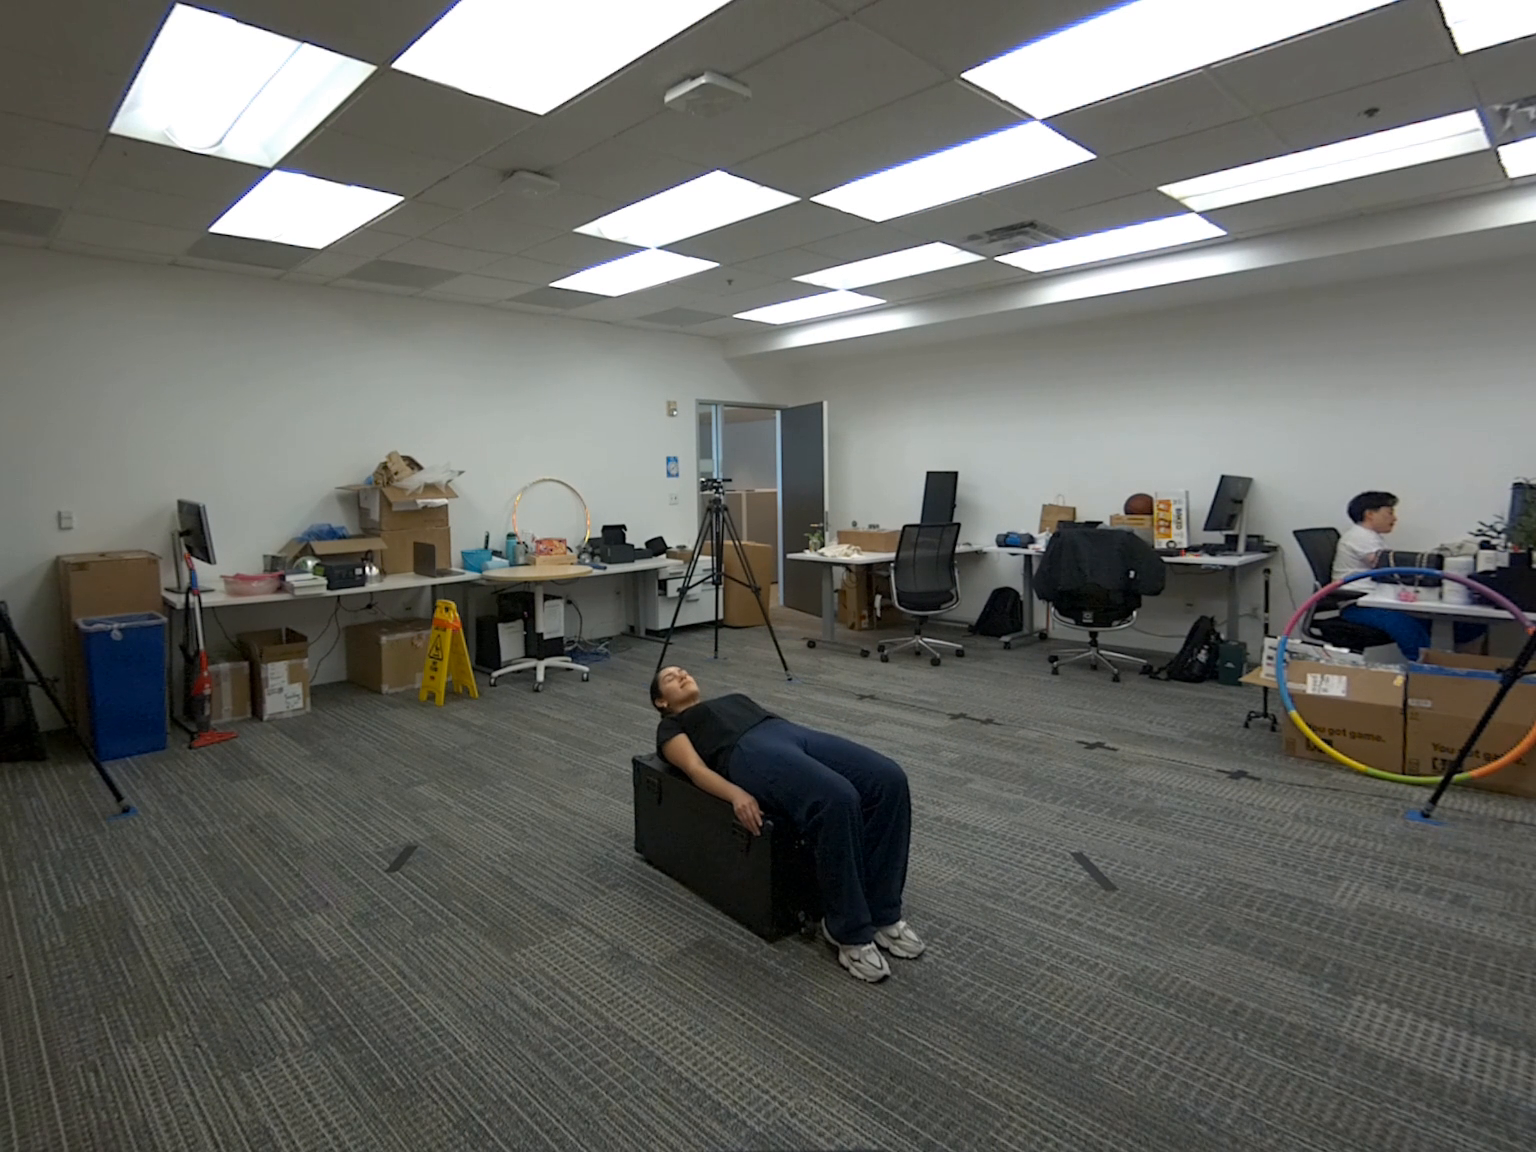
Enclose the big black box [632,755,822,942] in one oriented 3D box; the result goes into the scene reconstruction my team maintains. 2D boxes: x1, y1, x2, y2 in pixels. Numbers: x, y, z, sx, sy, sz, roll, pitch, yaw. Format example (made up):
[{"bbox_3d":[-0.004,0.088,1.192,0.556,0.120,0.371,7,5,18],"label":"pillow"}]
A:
[{"bbox_3d":[-0.081,0.873,3.036,0.508,0.394,0.889,-5,9,-39],"label":"big black box"}]
